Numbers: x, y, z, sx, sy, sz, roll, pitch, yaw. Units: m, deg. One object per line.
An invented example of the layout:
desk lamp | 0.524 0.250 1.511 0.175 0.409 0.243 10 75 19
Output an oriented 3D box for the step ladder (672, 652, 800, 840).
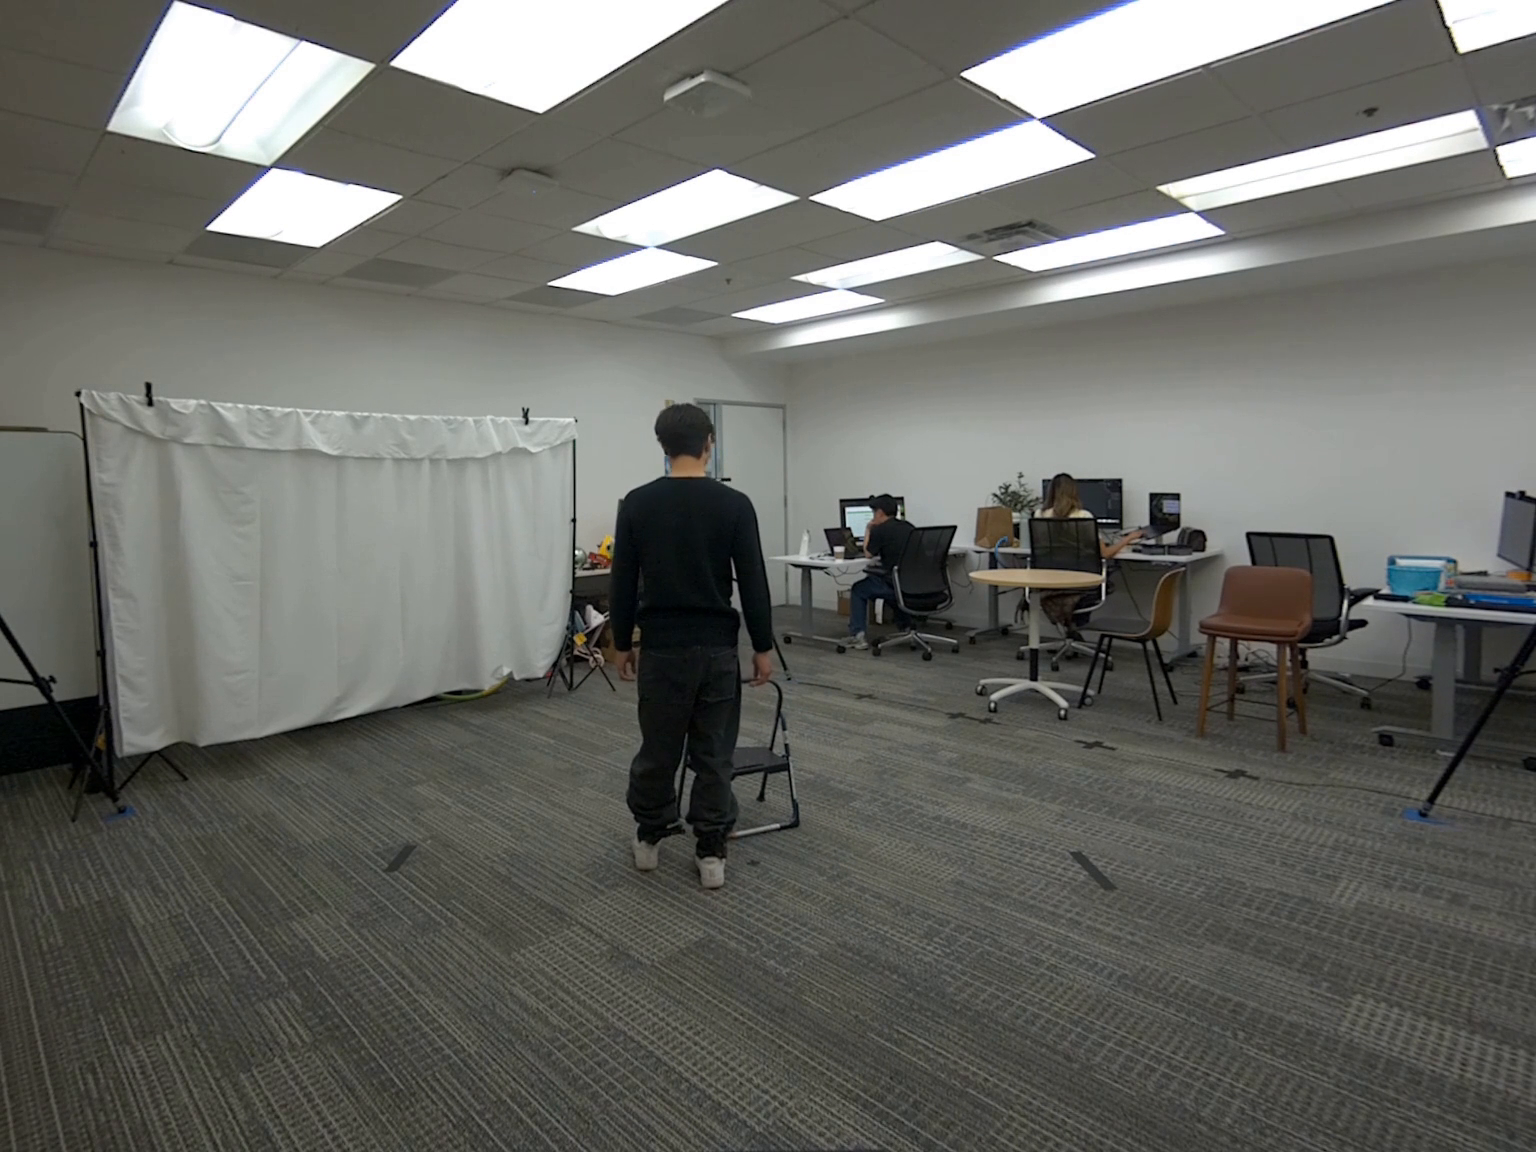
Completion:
step ladder | -0.135 0.698 3.473 0.421 0.604 0.358 -3 5 -27
